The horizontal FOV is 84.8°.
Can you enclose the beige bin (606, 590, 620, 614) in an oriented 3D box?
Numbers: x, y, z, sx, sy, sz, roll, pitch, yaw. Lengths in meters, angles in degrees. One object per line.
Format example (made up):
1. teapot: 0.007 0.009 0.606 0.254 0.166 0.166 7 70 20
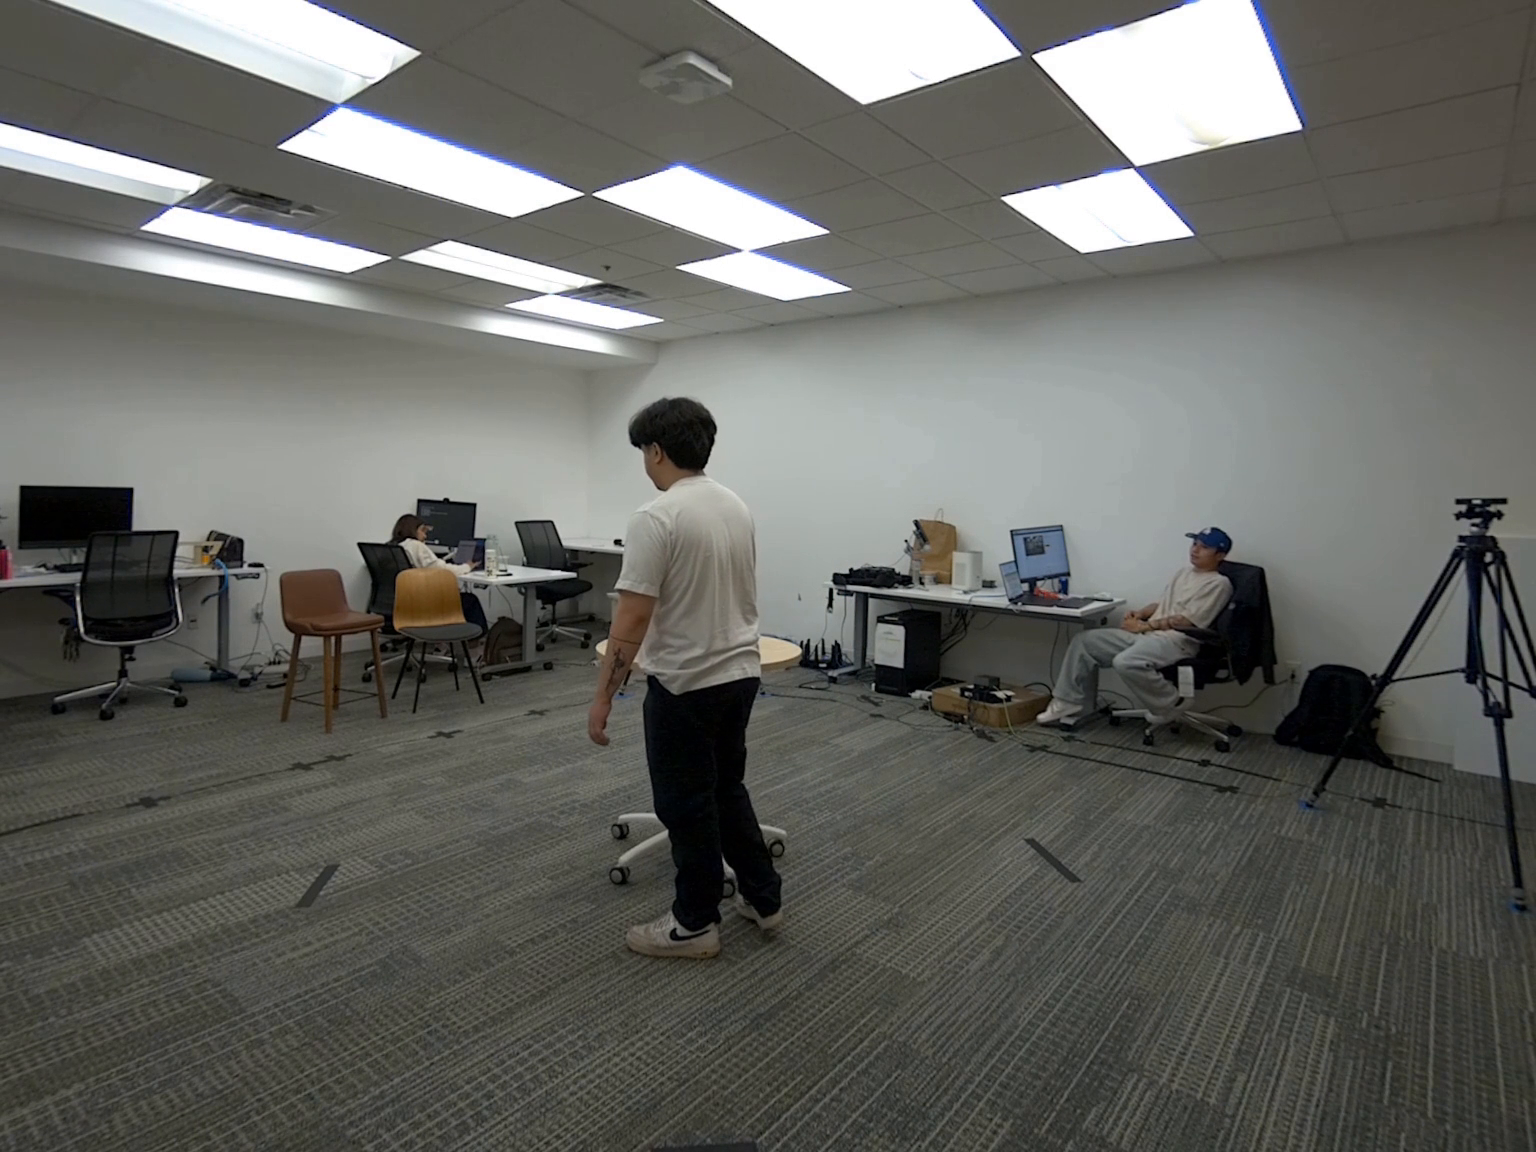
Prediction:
1. beige bin: -0.355 0.167 3.250 0.411 0.188 0.389 -2 5 -33
